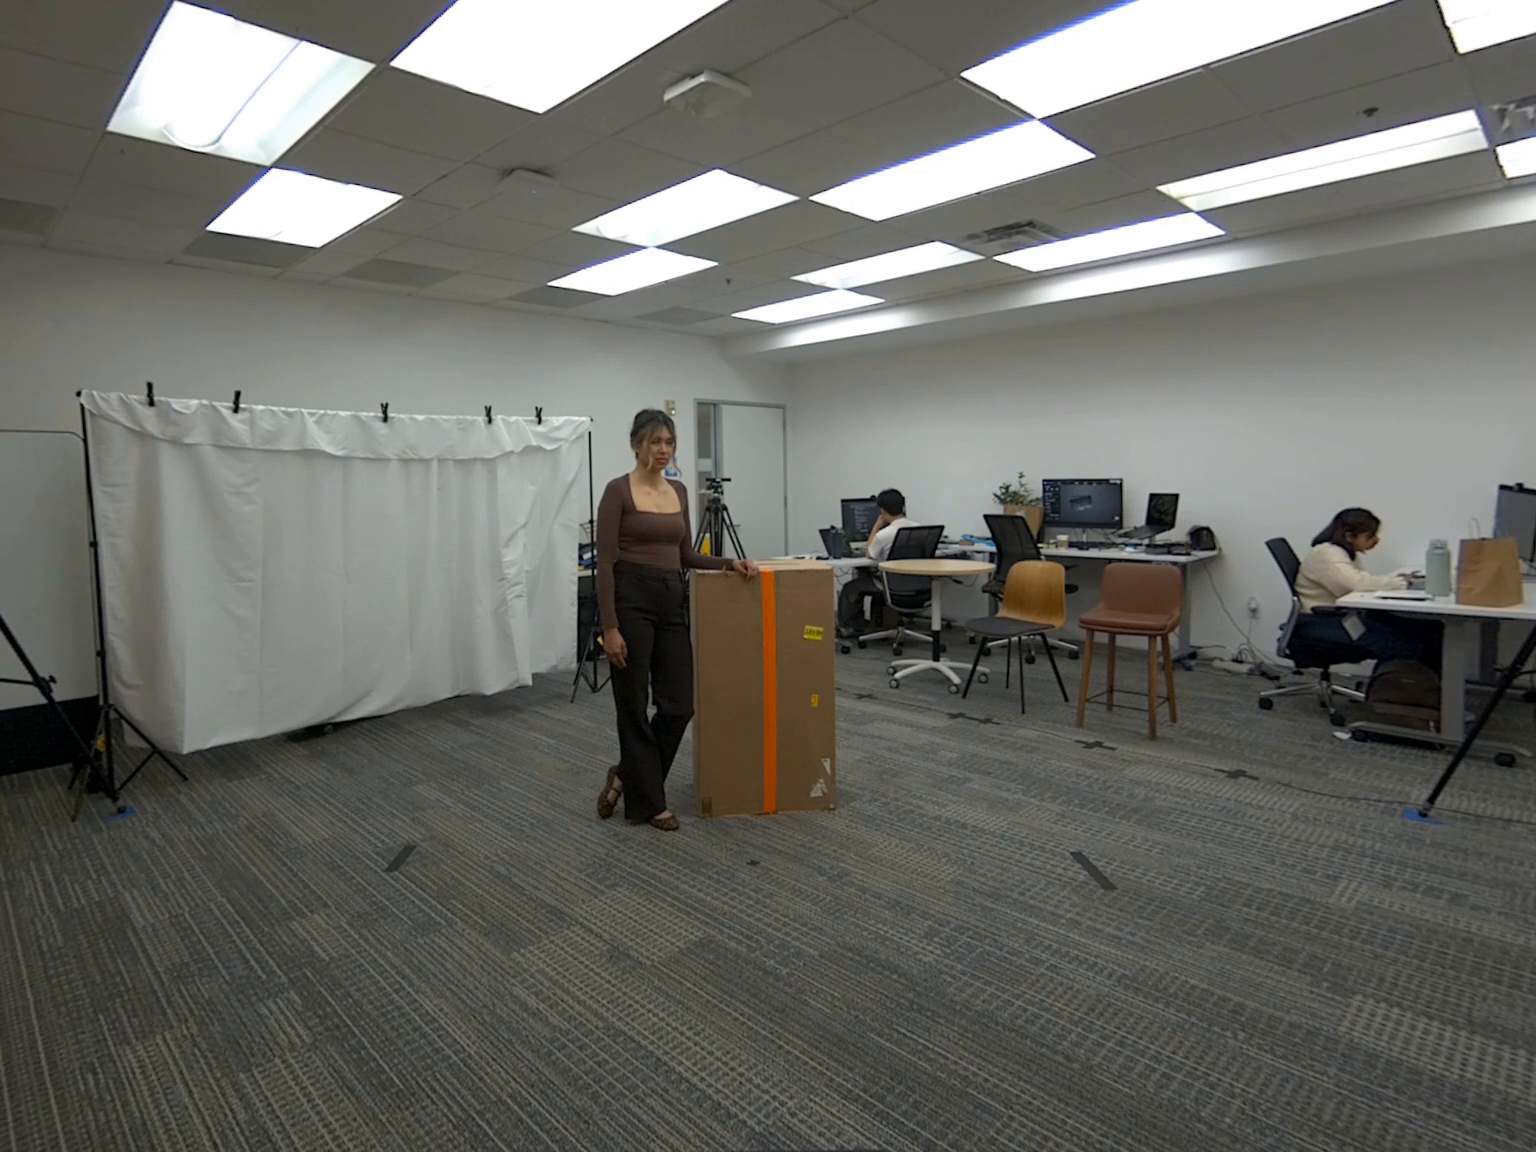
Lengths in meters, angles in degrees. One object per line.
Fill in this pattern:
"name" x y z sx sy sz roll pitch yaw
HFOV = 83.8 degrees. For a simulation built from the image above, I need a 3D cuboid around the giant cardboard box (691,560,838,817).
"giant cardboard box" -0.030 0.462 3.738 0.579 1.024 0.452 -1 4 -8
